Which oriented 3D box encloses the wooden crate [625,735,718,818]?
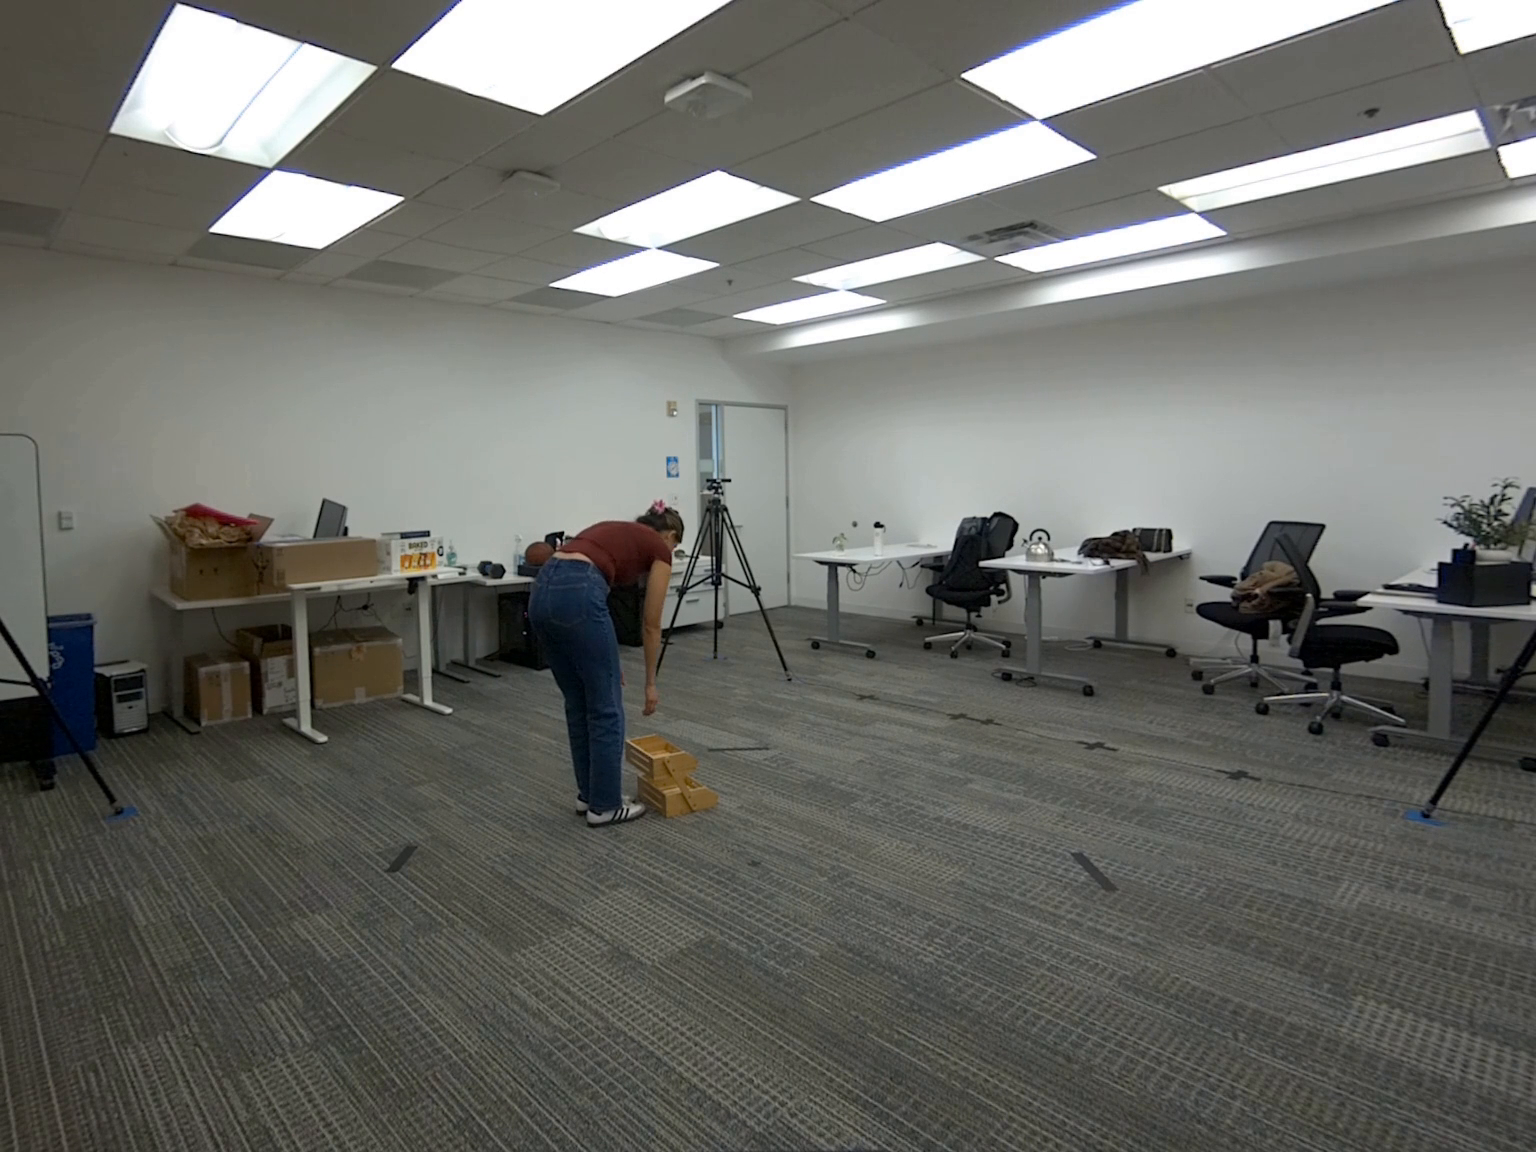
[{"bbox_3d":[-0.420,0.845,3.716,0.295,0.272,0.333,-5,6,-31],"label":"wooden crate"}]
